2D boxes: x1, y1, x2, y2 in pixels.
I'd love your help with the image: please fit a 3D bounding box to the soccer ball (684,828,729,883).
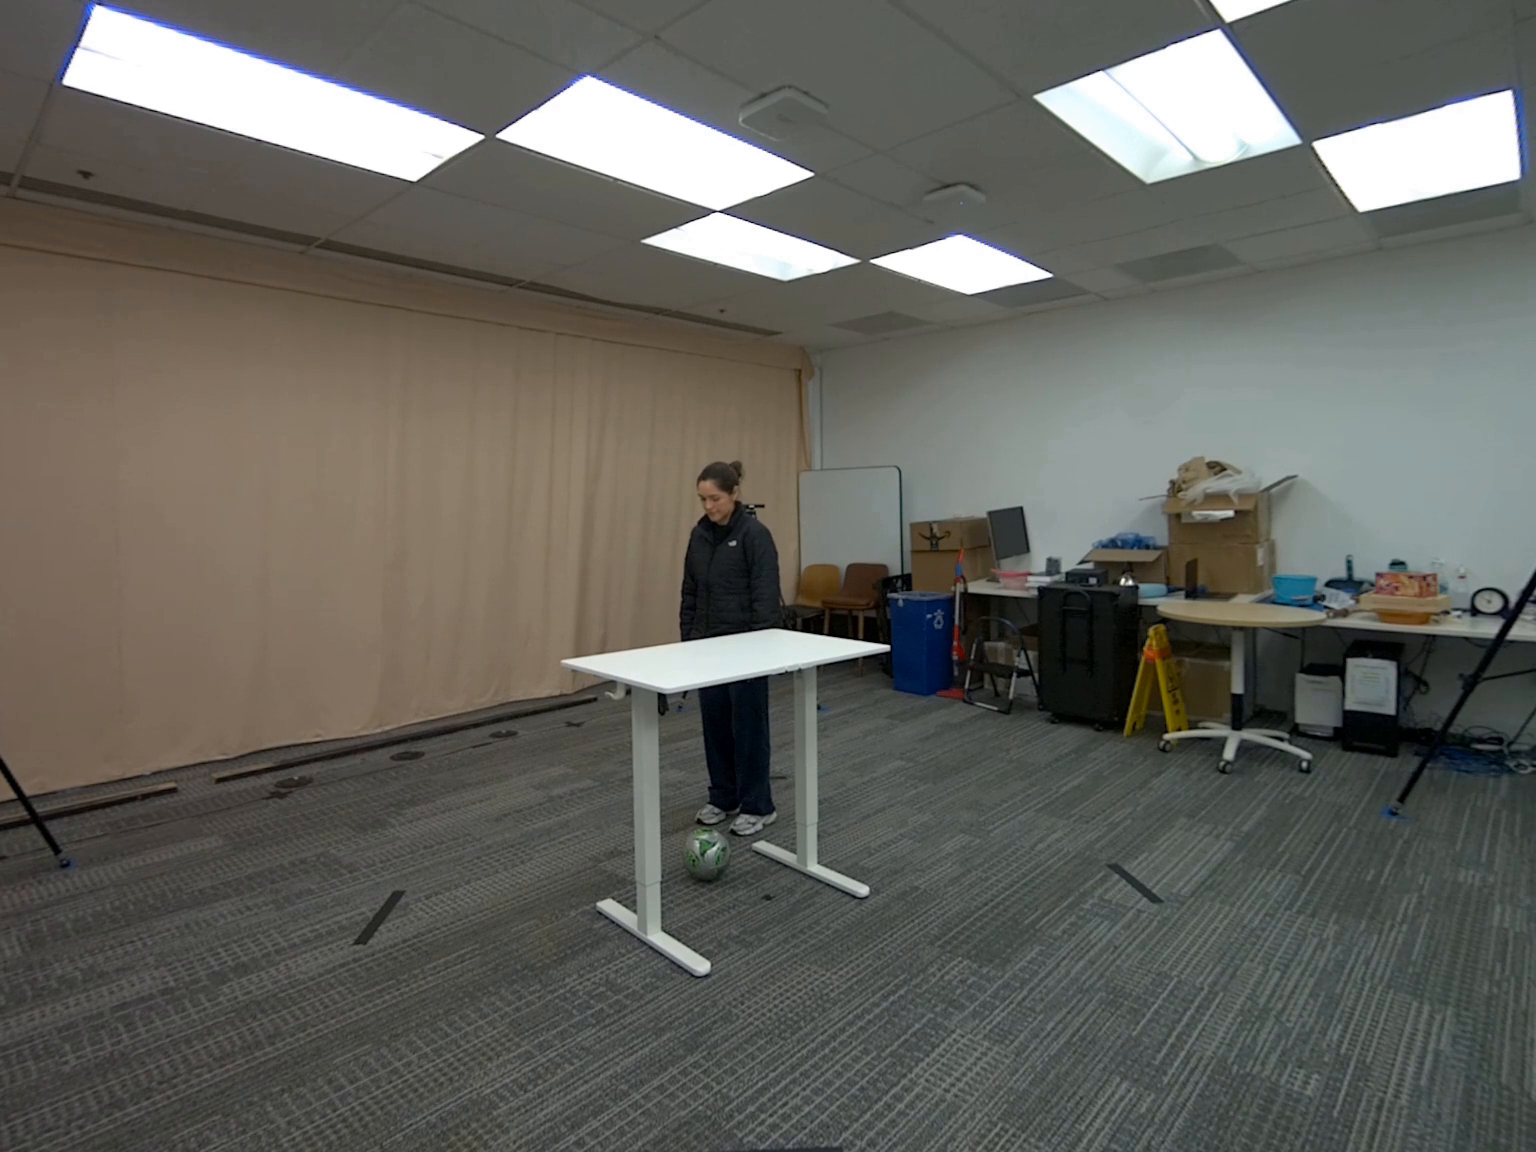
[{"bbox_3d":[-0.220,1.028,3.146,0.187,0.187,0.188,-1,4,-2],"label":"soccer ball"}]
